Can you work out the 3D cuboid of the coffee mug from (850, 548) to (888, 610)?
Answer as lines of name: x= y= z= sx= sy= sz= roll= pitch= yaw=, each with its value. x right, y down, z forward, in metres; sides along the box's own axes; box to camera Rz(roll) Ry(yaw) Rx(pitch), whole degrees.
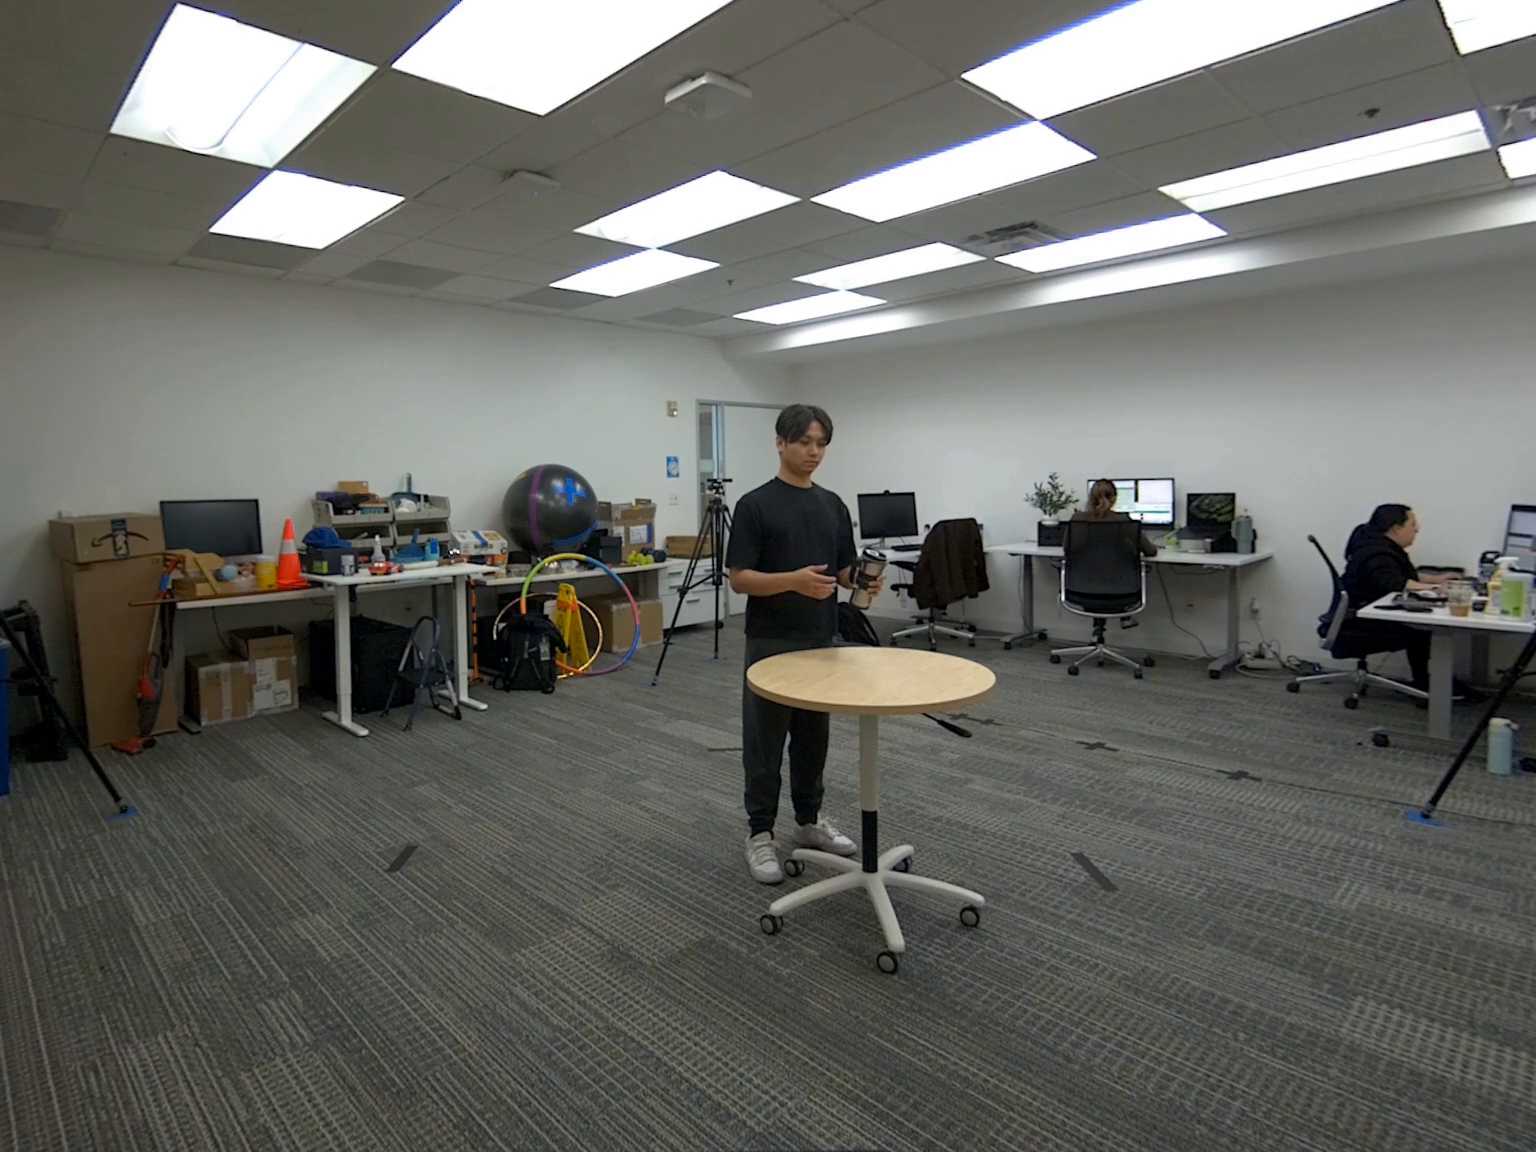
coffee mug: x=0.306 y=0.009 z=2.918 sx=0.122 sy=0.201 sz=0.089 roll=20 pitch=23 yaw=0
